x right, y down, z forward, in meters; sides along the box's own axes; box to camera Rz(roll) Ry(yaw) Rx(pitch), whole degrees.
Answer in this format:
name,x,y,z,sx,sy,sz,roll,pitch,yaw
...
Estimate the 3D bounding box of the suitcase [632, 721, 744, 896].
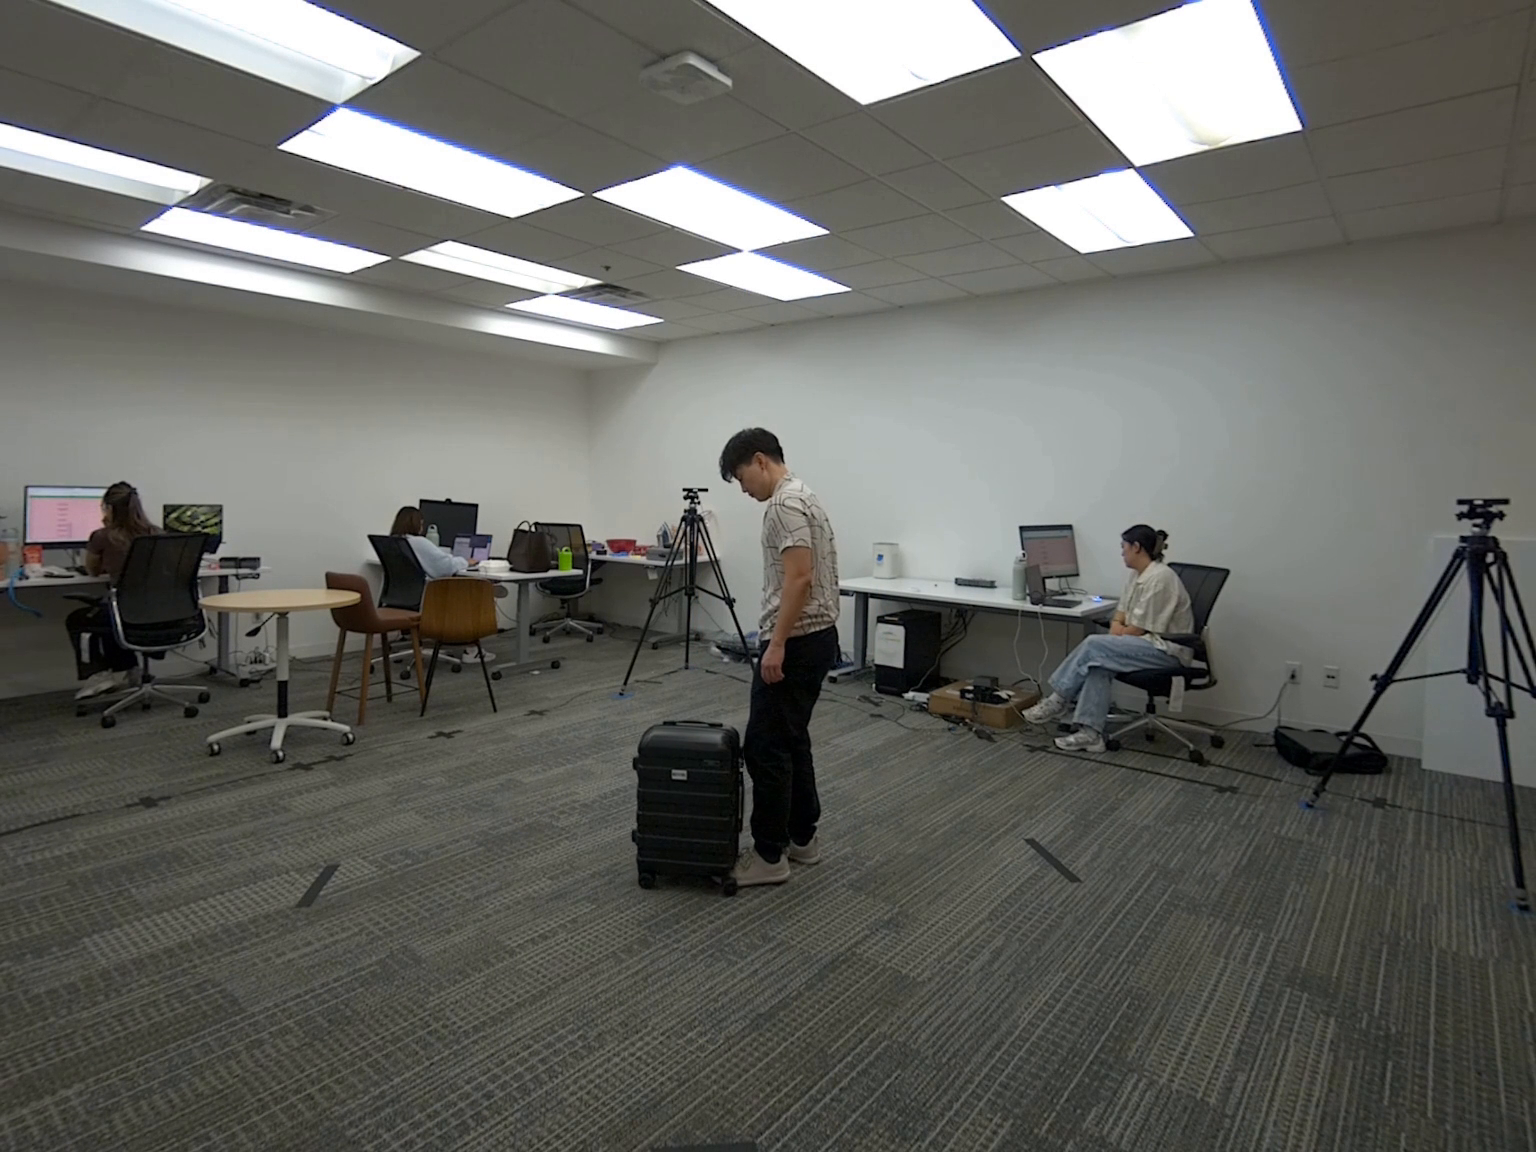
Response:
name,x,y,z,sx,sy,sz,roll,pitch,yaw
suitcase,-0.292,0.802,3.022,0.378,0.548,0.247,0,2,6
